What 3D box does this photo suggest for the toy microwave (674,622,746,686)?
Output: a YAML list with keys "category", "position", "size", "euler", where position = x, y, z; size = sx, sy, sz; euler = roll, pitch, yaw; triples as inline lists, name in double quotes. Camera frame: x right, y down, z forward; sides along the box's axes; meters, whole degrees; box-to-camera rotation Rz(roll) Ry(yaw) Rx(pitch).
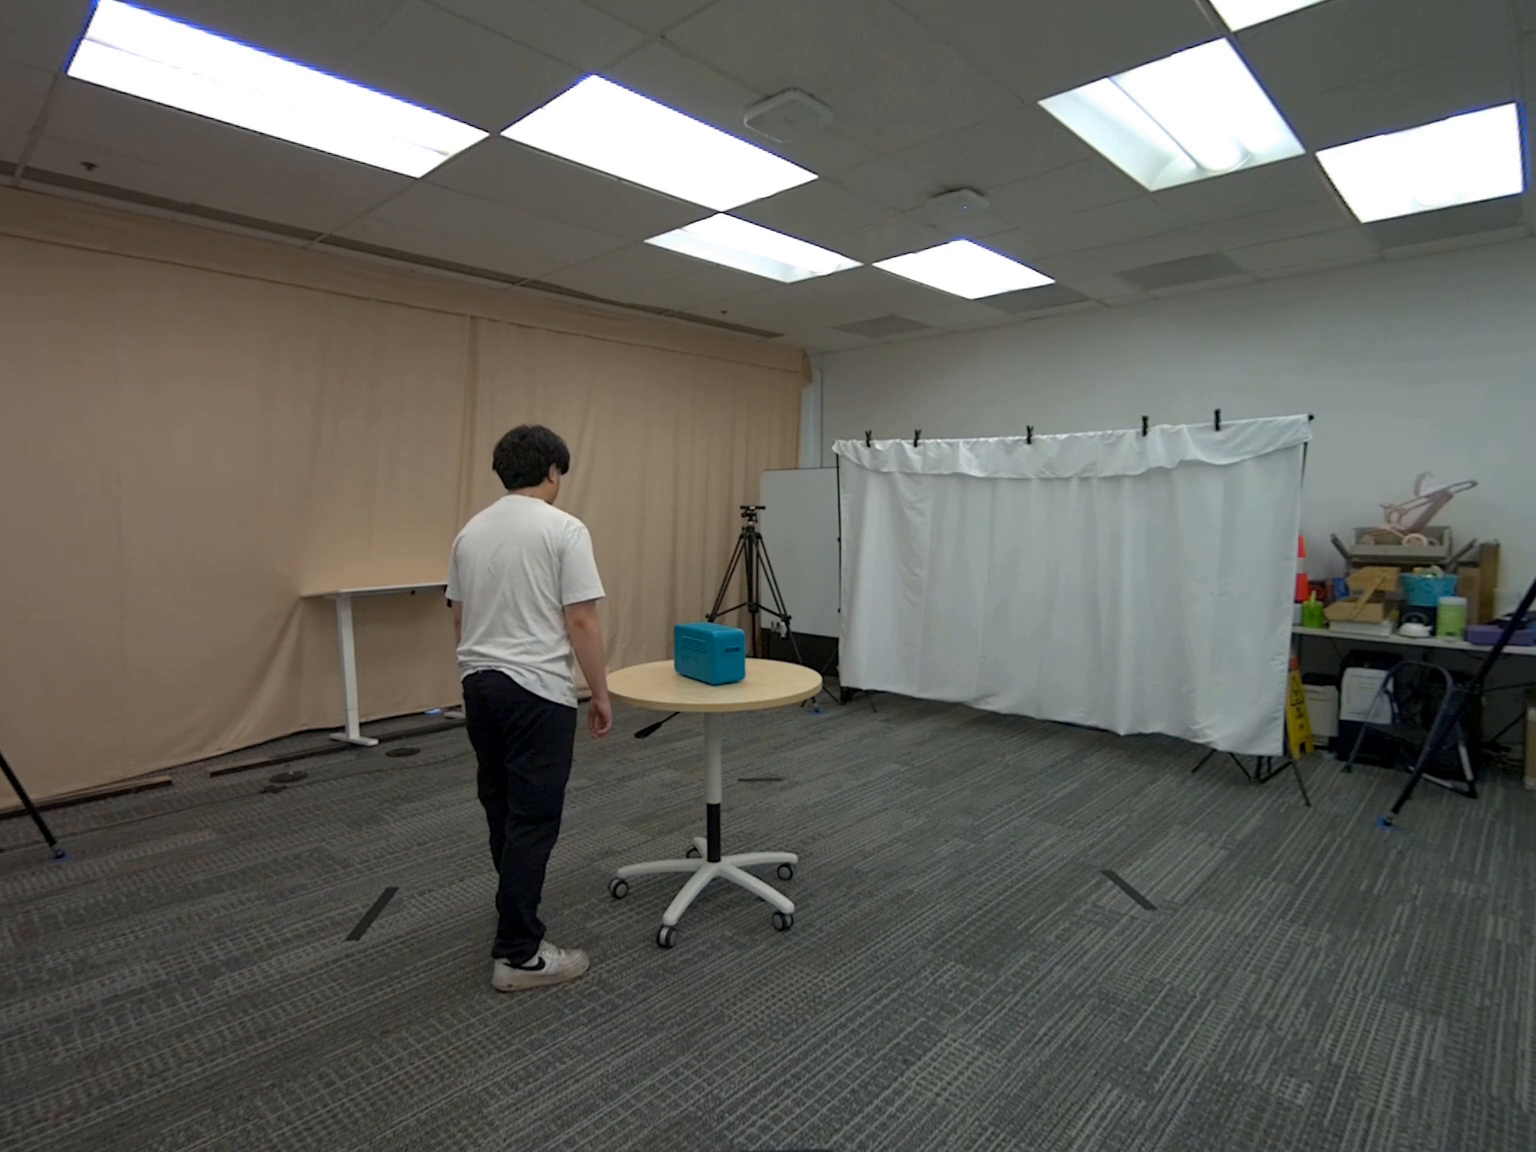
- category: "toy microwave"
  position: [-0.199, 0.264, 2.937]
  size: [0.148, 0.184, 0.295]
  euler: [-3, 4, -34]
